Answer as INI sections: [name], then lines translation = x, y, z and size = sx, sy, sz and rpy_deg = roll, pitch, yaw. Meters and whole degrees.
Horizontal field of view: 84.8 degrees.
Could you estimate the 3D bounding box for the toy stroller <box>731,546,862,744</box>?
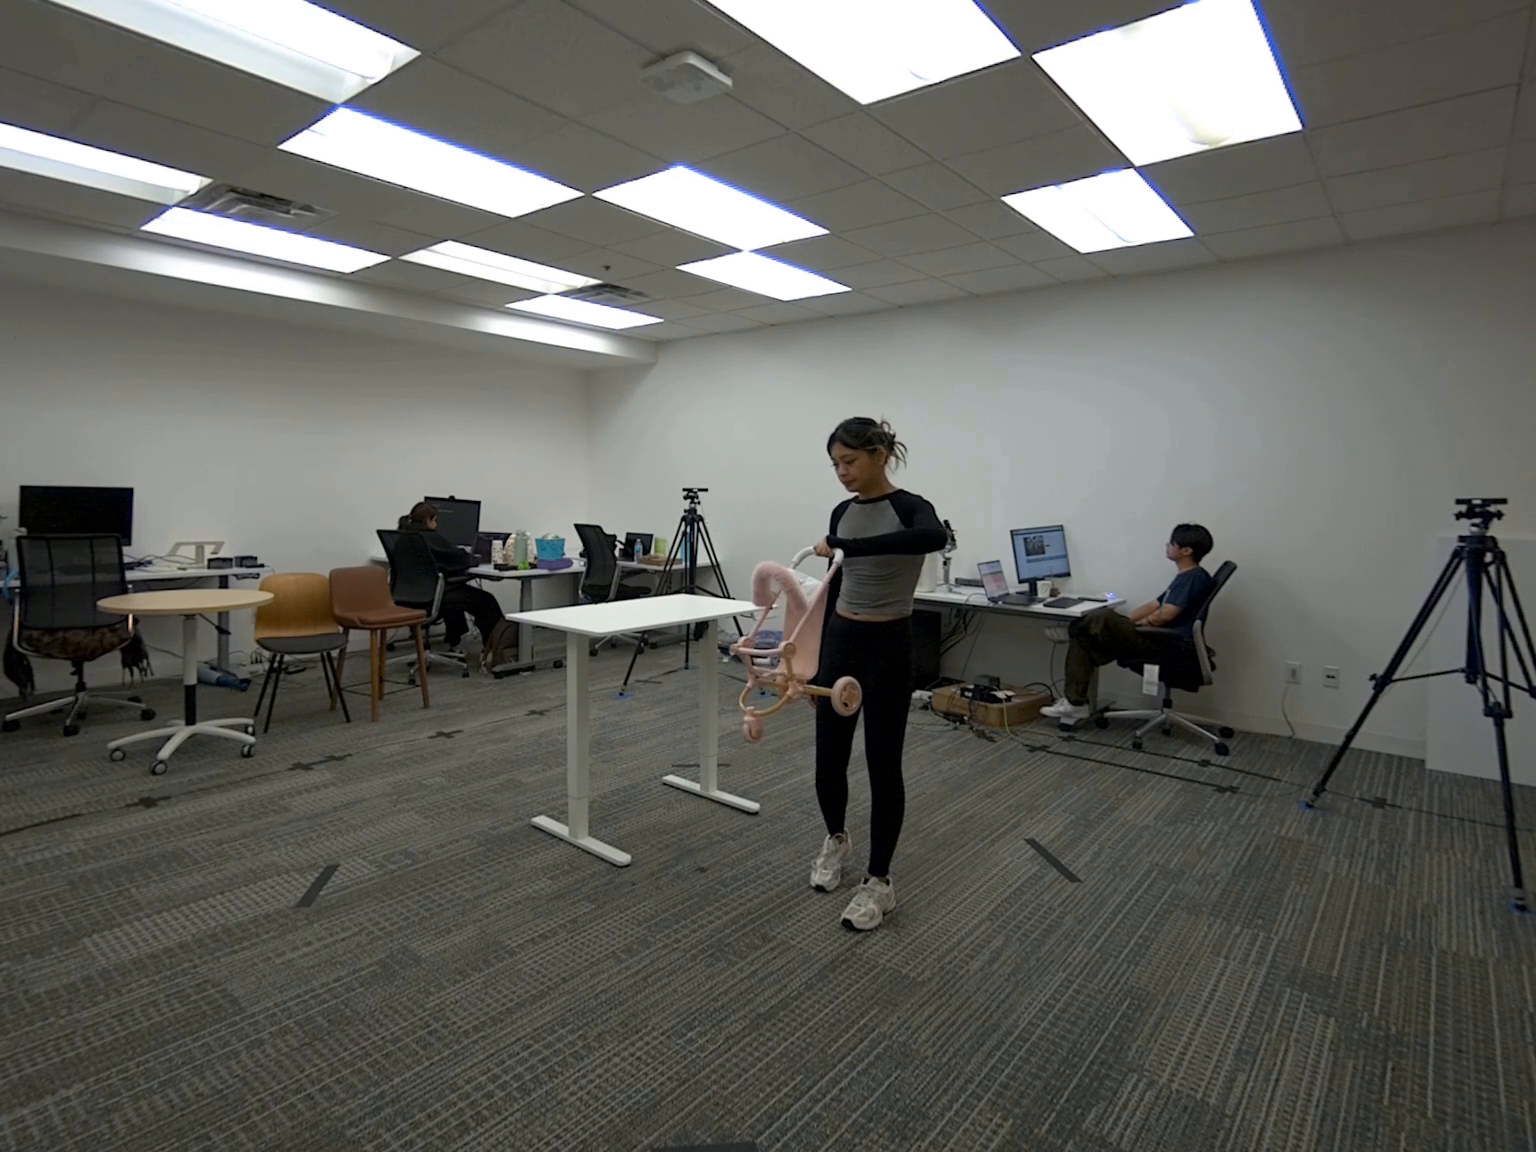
[toy stroller]
translation = 0.040, 0.189, 2.446
size = 0.332, 0.535, 0.289
rpy_deg = -2, 1, -32
